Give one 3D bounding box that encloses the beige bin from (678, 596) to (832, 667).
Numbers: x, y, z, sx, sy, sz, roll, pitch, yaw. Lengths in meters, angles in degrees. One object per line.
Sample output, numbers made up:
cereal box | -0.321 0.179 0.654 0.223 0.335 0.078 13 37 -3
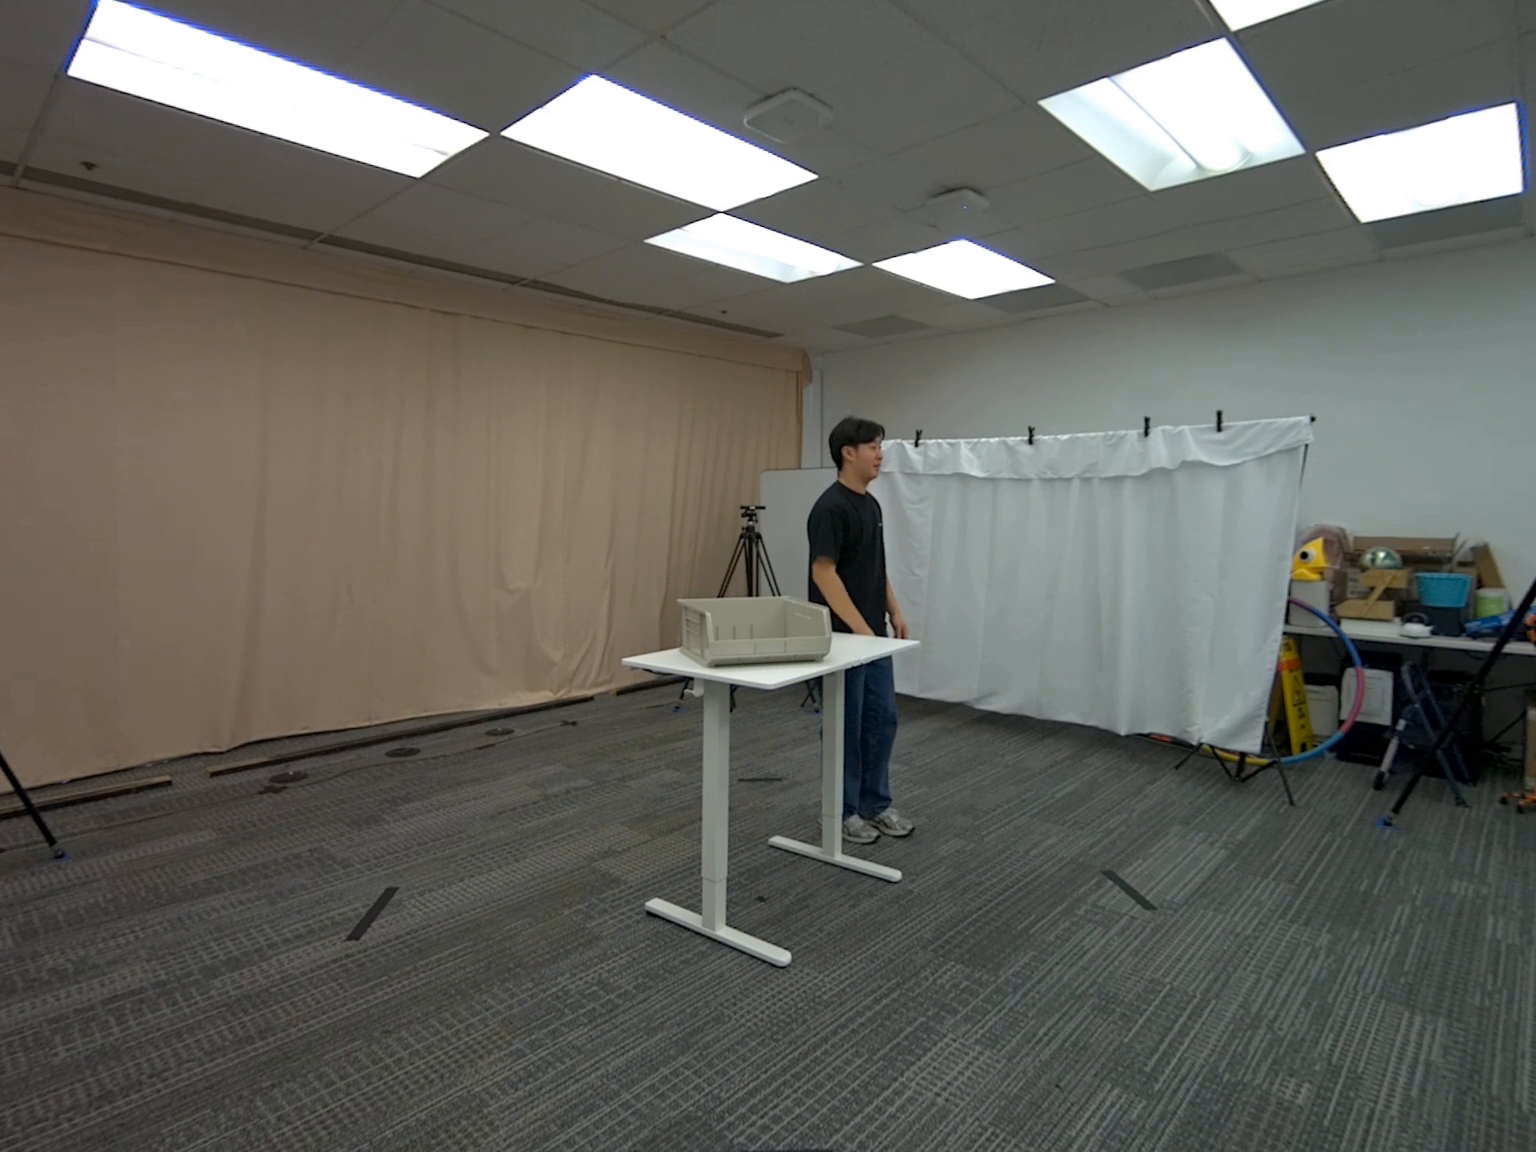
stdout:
beige bin | -0.056 0.186 2.821 0.414 0.188 0.385 -1 4 -19
